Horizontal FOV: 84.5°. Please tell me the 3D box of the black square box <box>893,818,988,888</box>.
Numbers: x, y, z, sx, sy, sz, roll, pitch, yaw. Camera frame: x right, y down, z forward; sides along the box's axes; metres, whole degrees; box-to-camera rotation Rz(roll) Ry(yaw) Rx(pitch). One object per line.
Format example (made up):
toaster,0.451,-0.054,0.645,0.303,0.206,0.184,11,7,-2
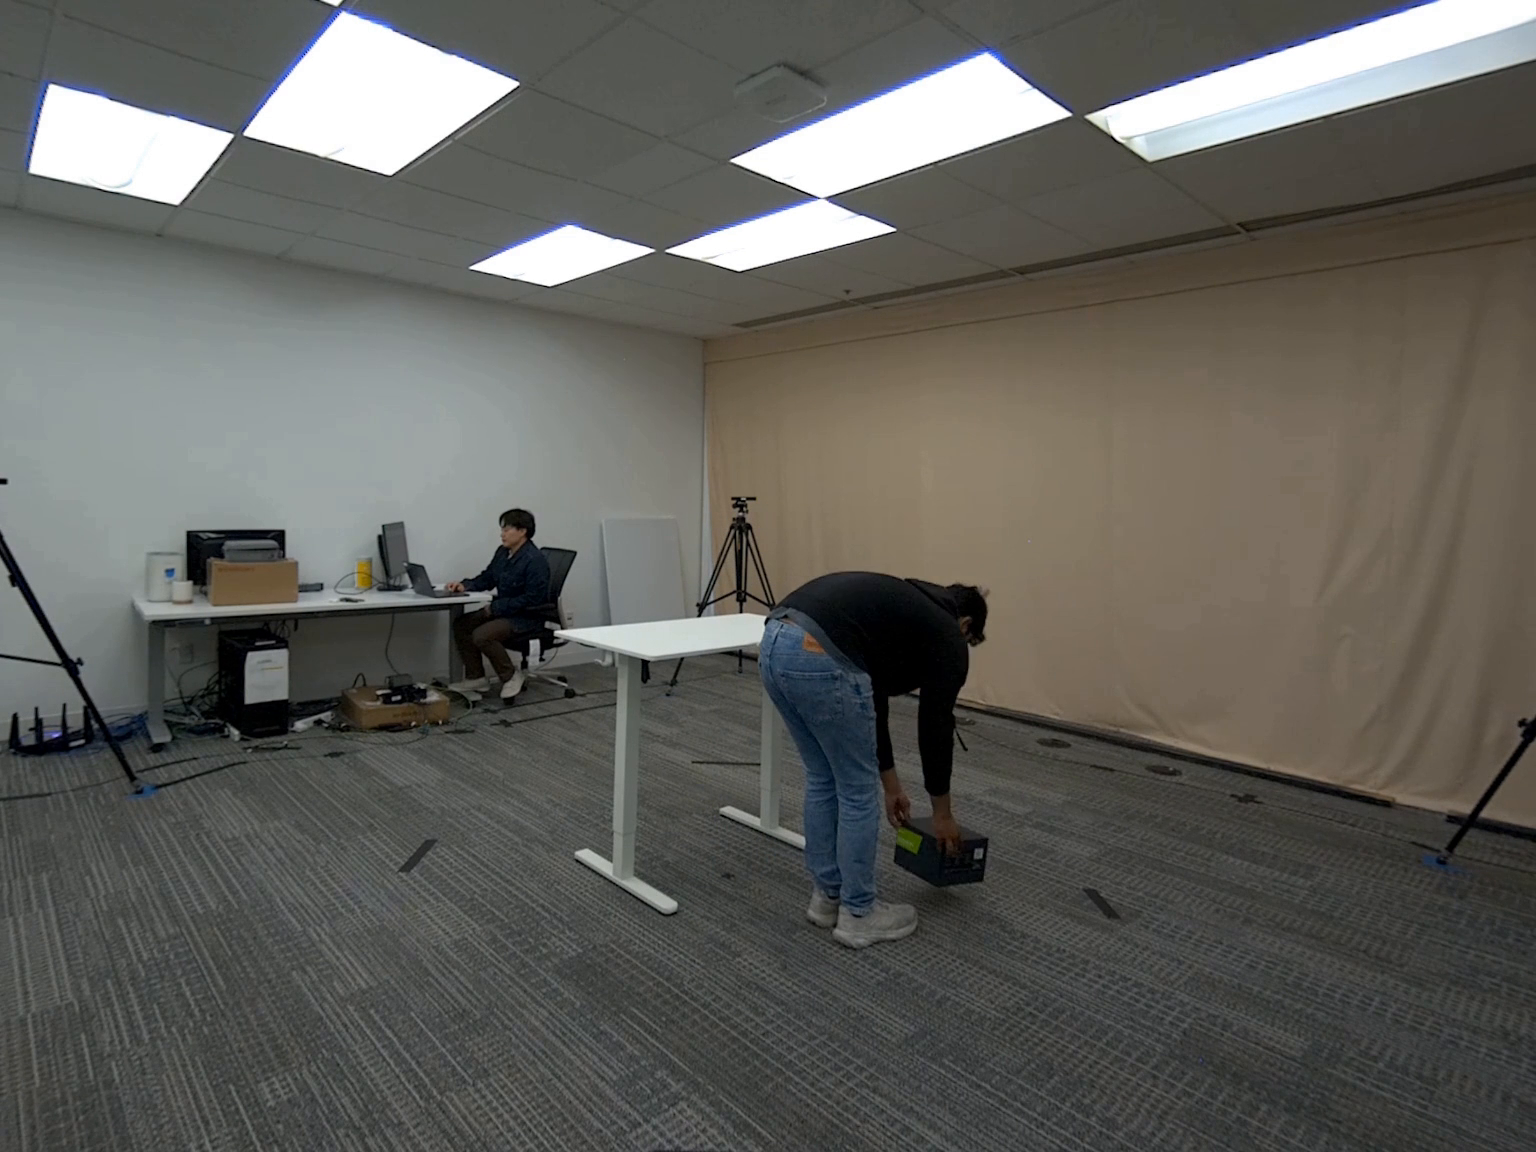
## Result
black square box,0.595,0.950,2.950,0.212,0.156,0.233,7,1,-32
